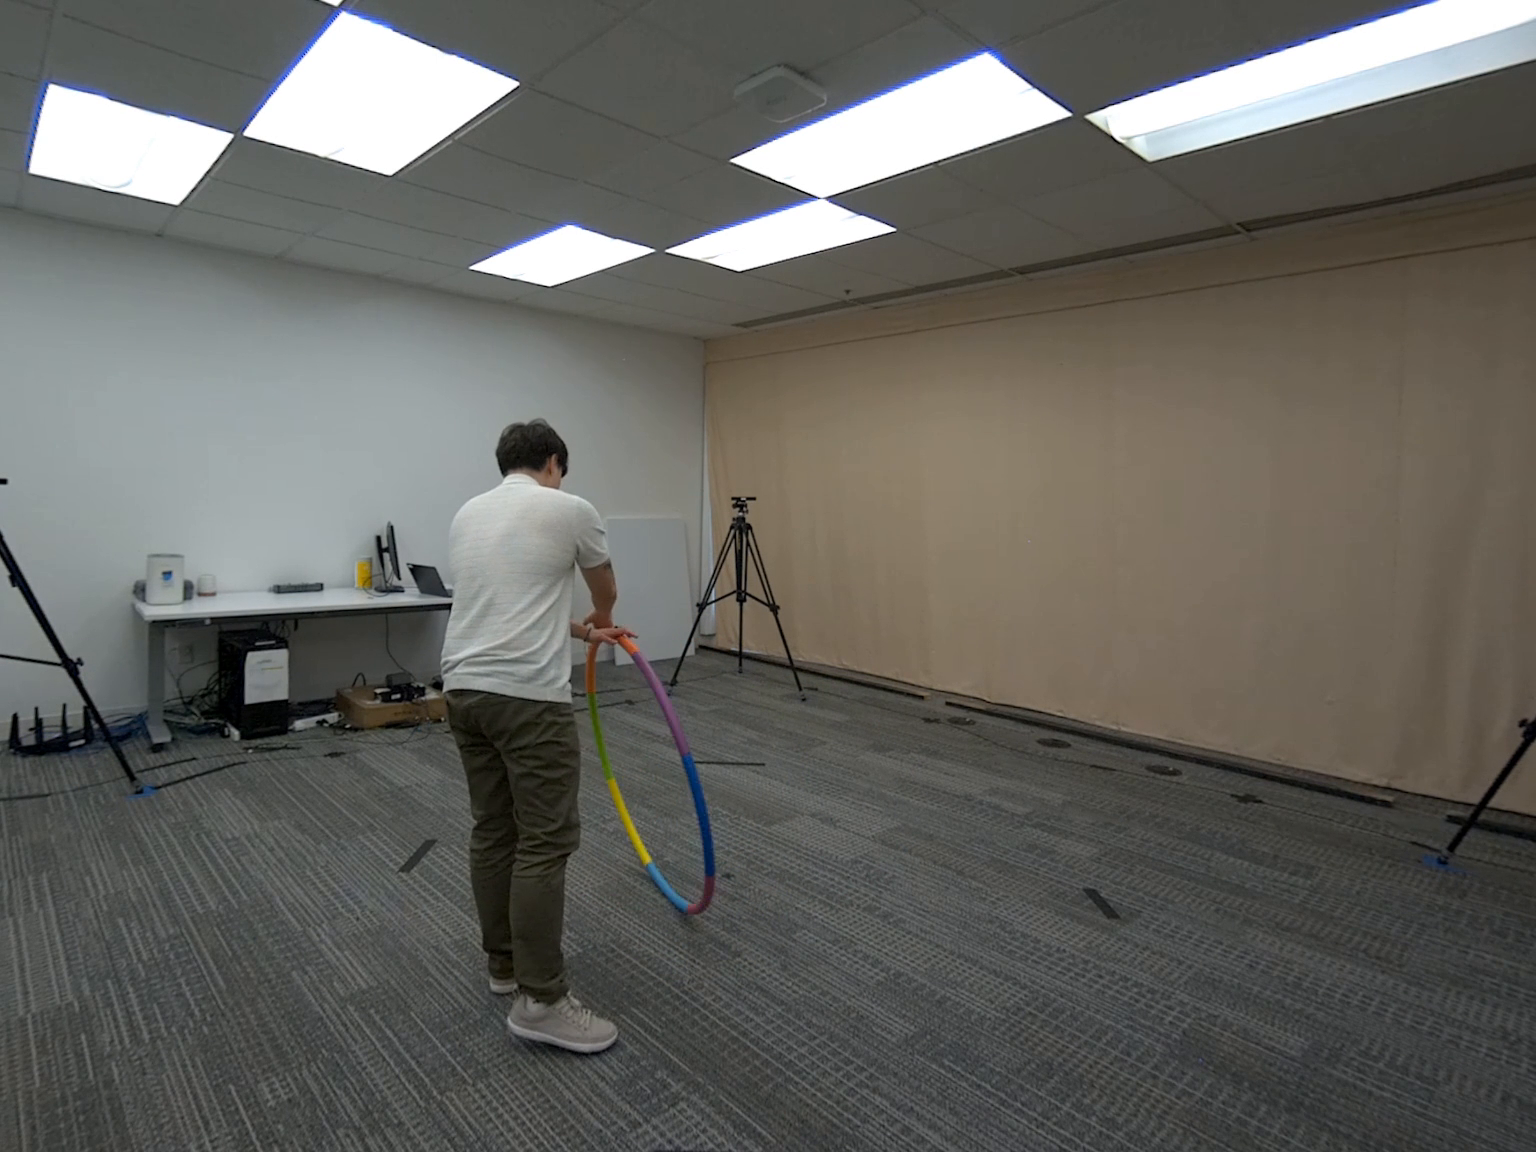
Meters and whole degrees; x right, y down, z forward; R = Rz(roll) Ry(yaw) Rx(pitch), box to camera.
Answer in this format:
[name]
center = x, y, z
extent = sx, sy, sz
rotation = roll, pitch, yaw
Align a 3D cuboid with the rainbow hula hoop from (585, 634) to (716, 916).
[rainbow hula hoop]
center = -0.425, 0.656, 2.846
extent = 0.035, 0.970, 1.000
rotation = -16, 11, -26
